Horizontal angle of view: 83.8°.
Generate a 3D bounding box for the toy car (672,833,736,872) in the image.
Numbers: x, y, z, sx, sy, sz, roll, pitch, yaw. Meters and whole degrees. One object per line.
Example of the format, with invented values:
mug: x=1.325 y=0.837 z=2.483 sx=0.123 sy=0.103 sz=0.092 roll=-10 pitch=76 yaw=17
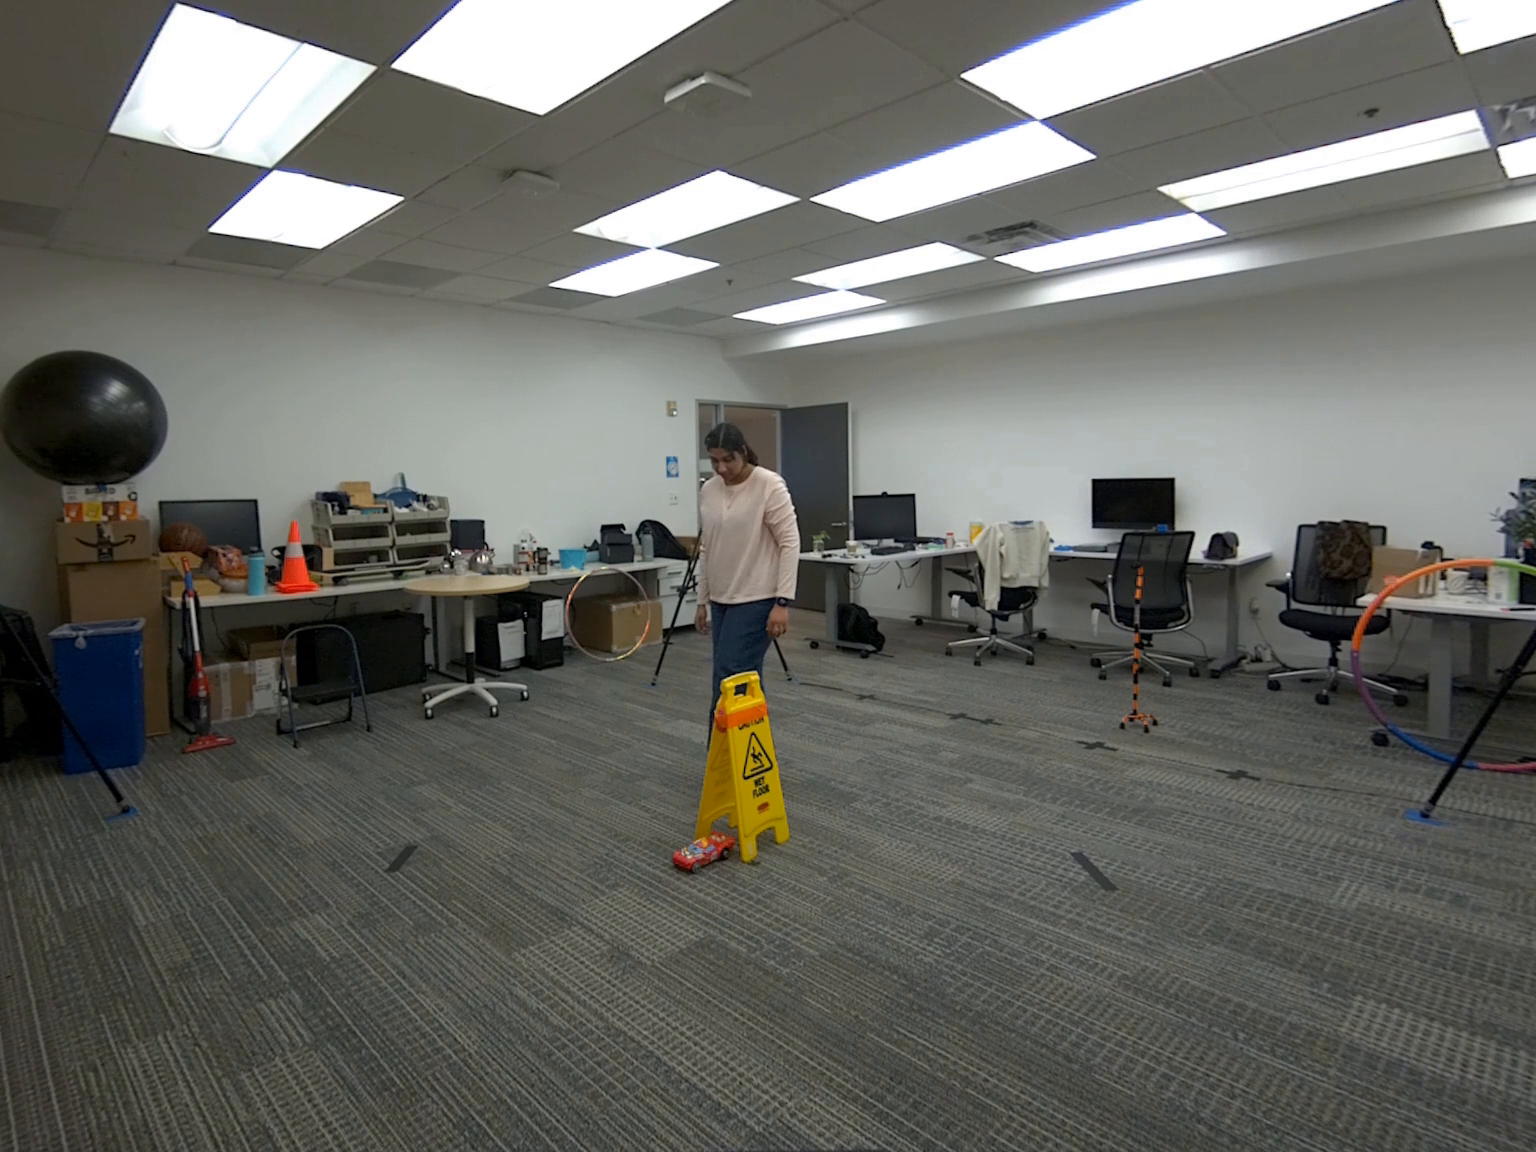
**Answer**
toy car: x=-0.232 y=1.018 z=3.135 sx=0.134 sy=0.082 sz=0.250 roll=3 pitch=16 yaw=44
